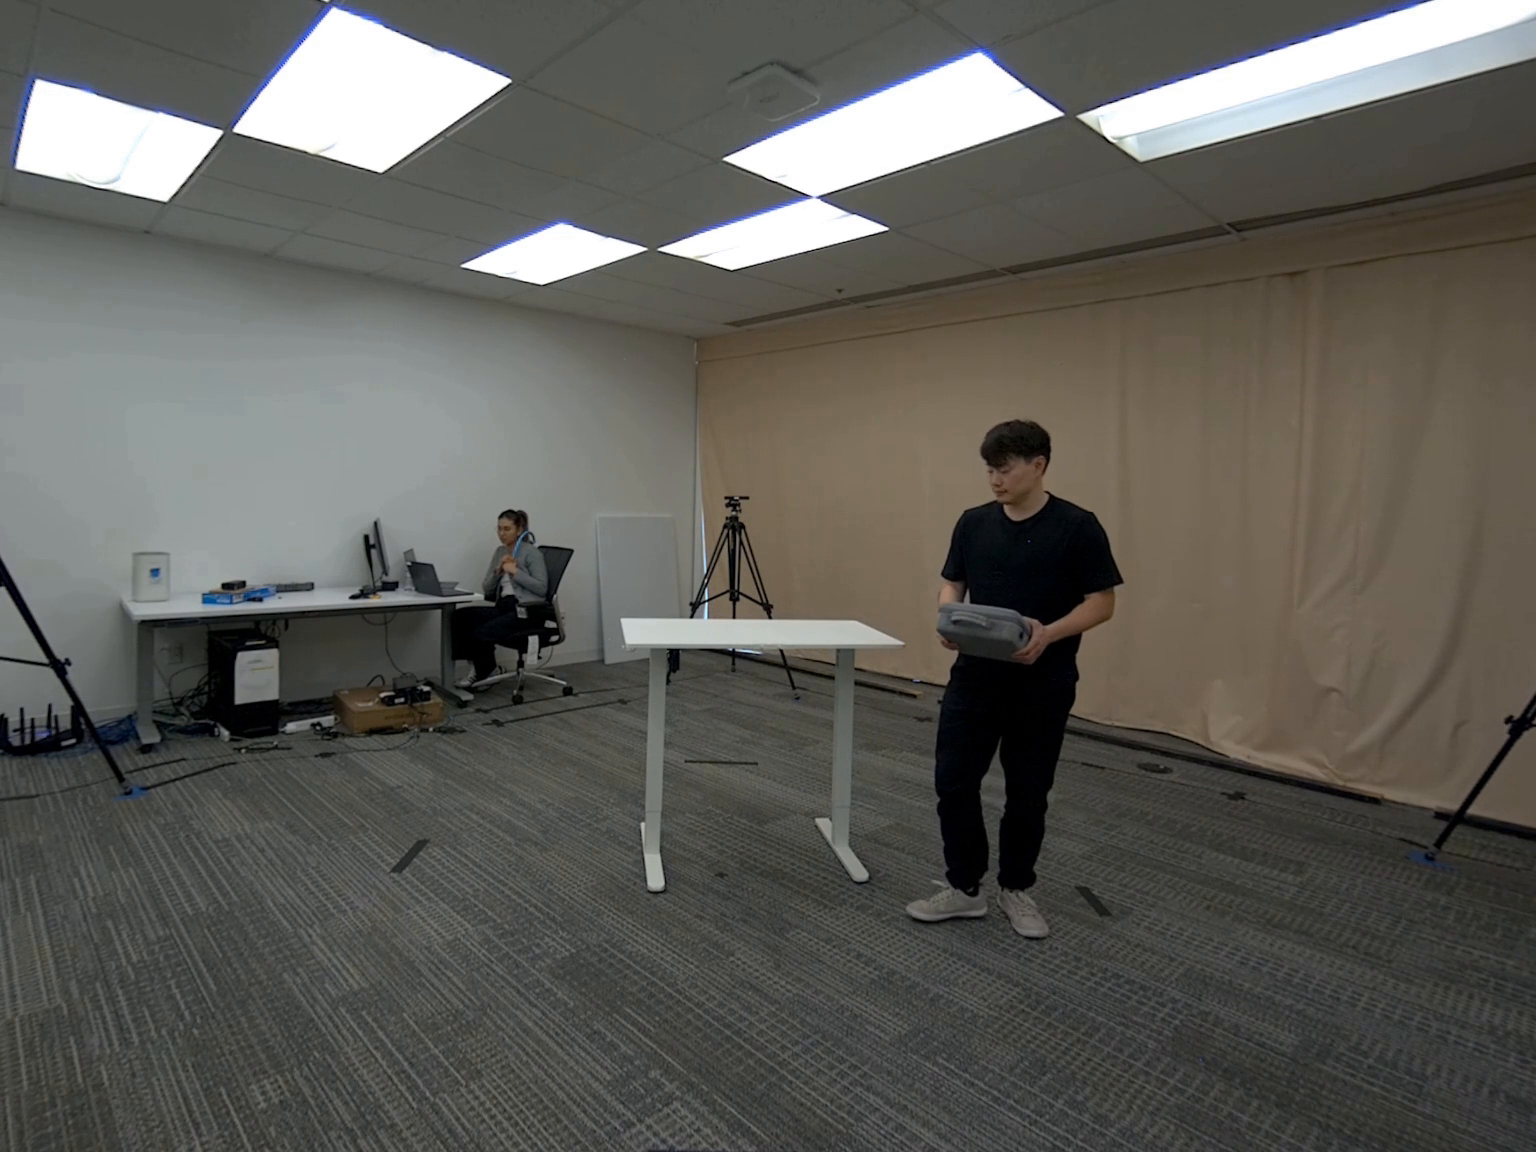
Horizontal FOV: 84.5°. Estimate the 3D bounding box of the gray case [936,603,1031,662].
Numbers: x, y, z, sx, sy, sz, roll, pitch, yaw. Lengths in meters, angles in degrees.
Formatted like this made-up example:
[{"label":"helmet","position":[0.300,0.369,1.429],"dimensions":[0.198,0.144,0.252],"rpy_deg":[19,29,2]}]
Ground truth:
[{"label":"gray case","position":[0.672,0.165,2.576],"dimensions":[0.263,0.105,0.252],"rpy_deg":[6,-15,39]}]
